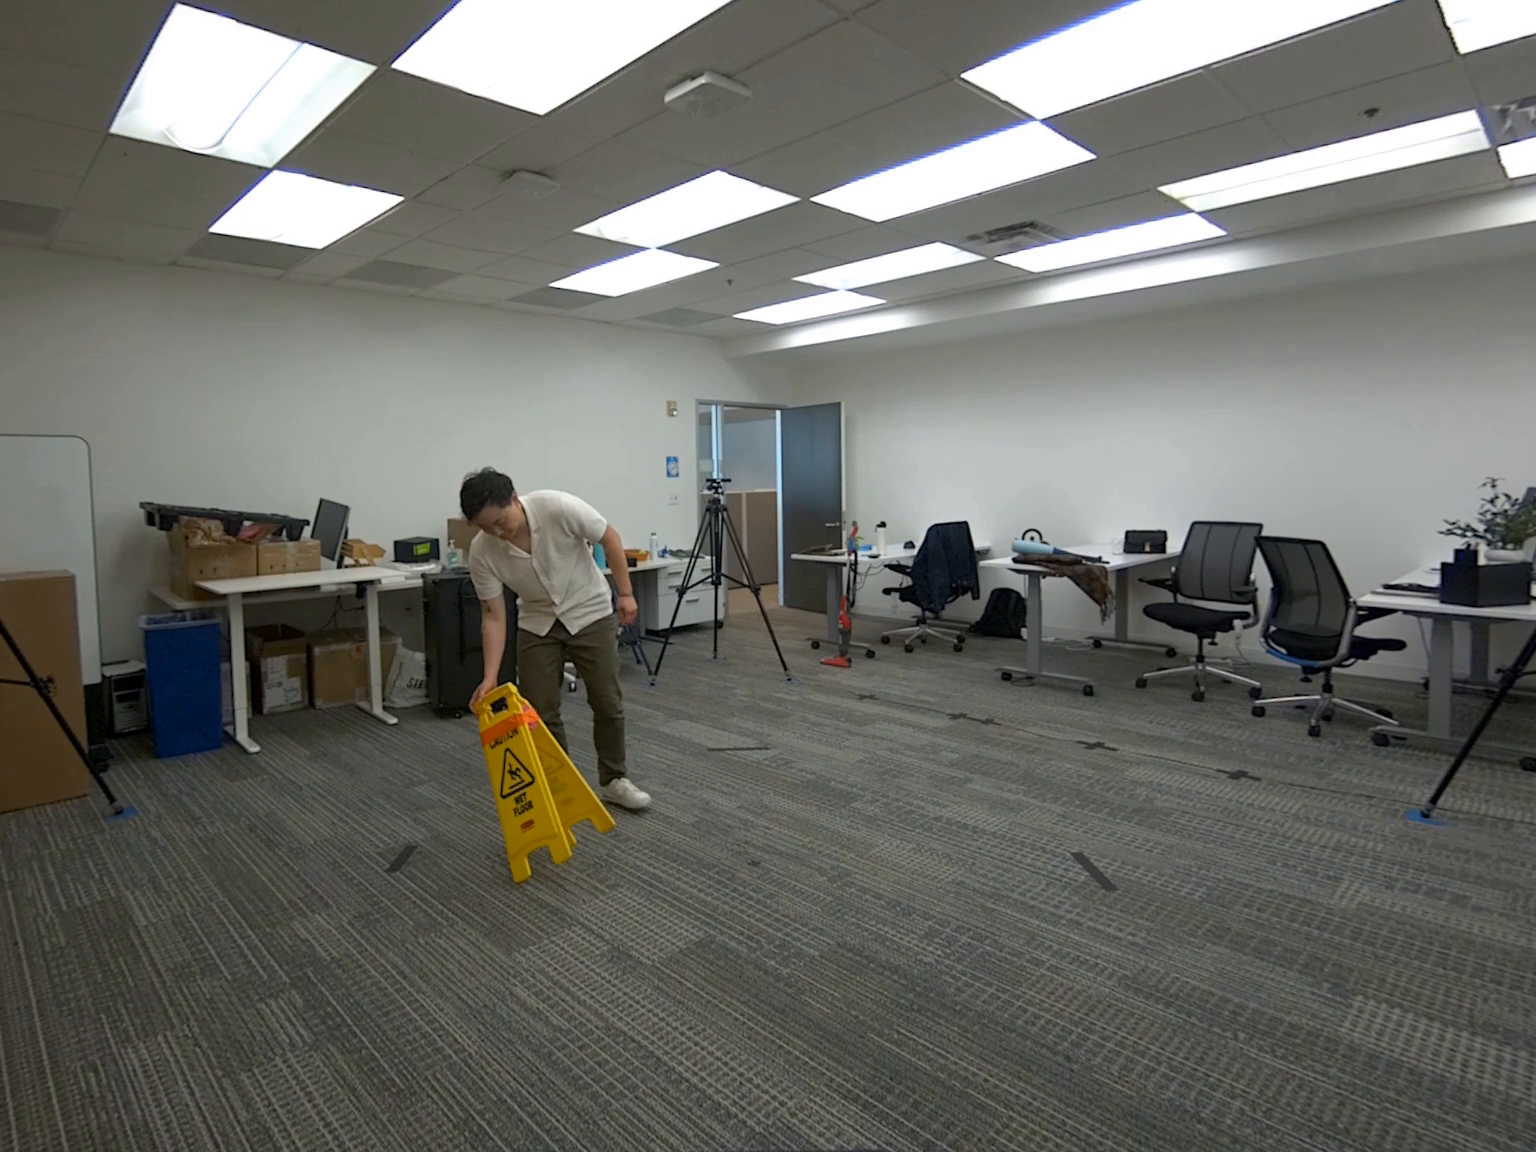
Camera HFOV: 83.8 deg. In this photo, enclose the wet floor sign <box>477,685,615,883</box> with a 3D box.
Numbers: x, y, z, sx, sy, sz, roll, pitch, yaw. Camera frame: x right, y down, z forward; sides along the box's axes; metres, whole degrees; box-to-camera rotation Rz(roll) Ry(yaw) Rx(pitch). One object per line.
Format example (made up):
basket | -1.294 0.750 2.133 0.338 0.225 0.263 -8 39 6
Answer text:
wet floor sign | -0.877 0.719 3.117 0.284 0.653 0.284 -31 -8 23
